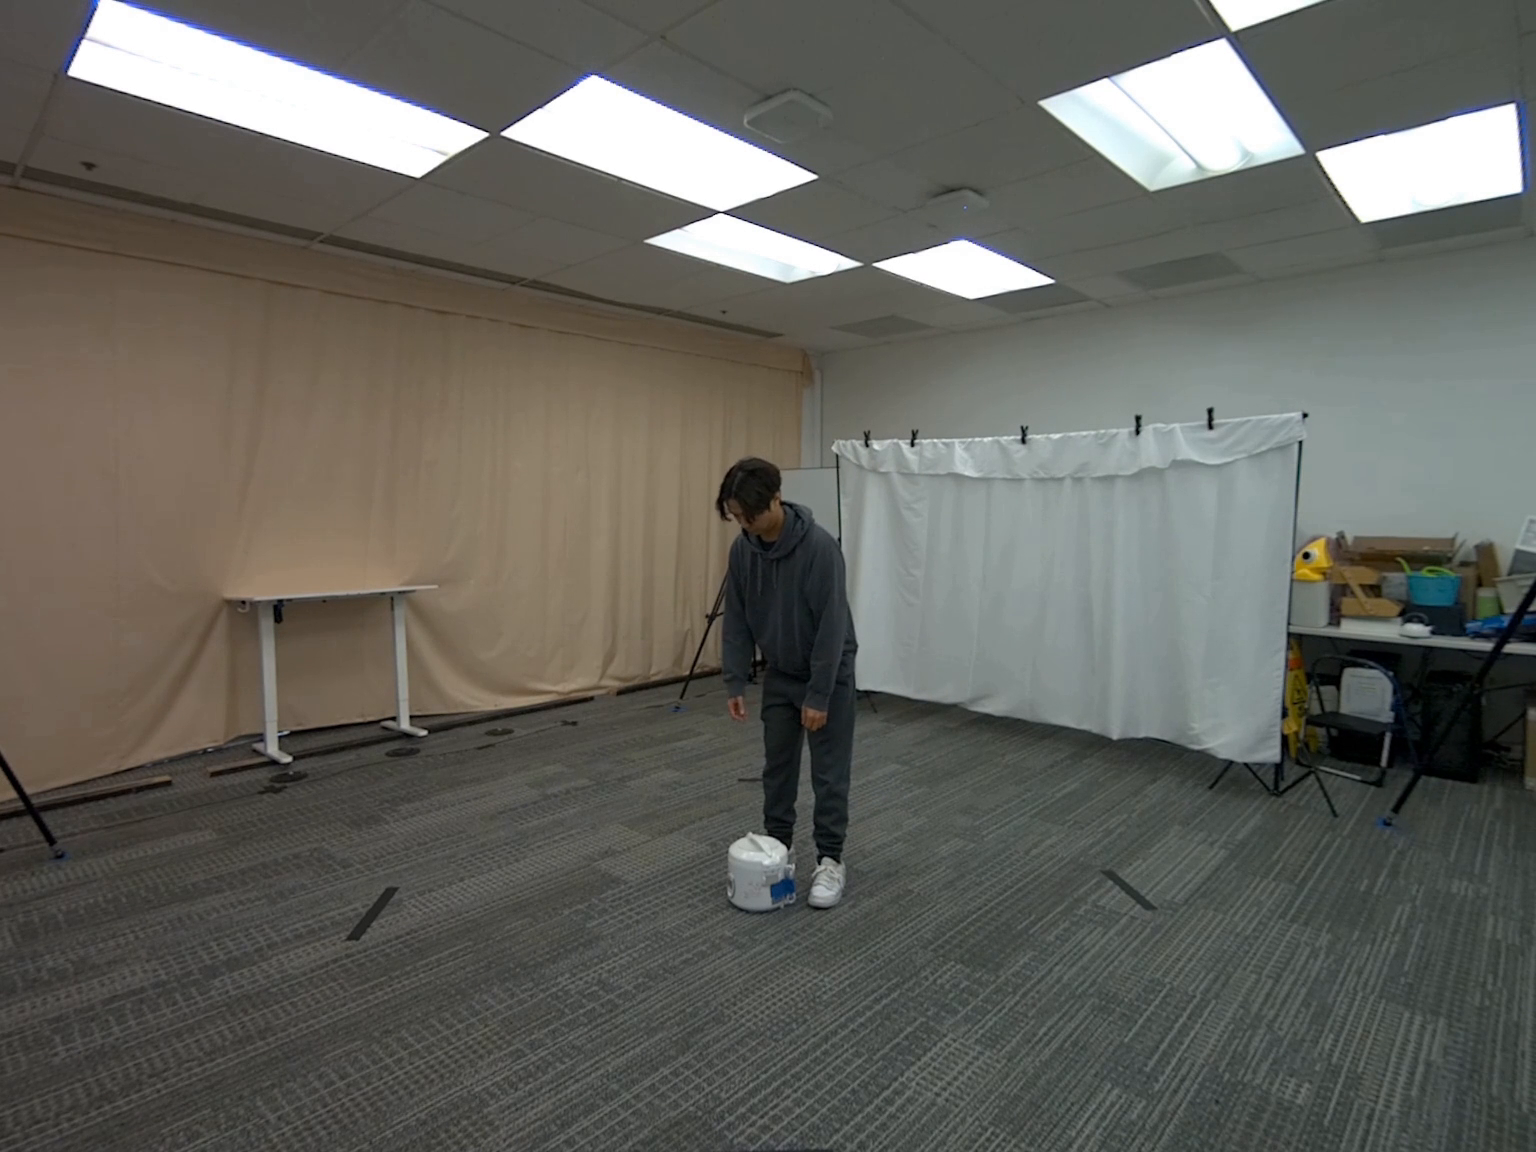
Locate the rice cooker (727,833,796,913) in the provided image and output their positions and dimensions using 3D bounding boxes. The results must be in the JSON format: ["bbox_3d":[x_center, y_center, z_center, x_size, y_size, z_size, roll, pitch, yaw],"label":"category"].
[{"bbox_3d":[-0.032,1.030,2.951,0.212,0.232,0.226,0,3,-25],"label":"rice cooker"}]
